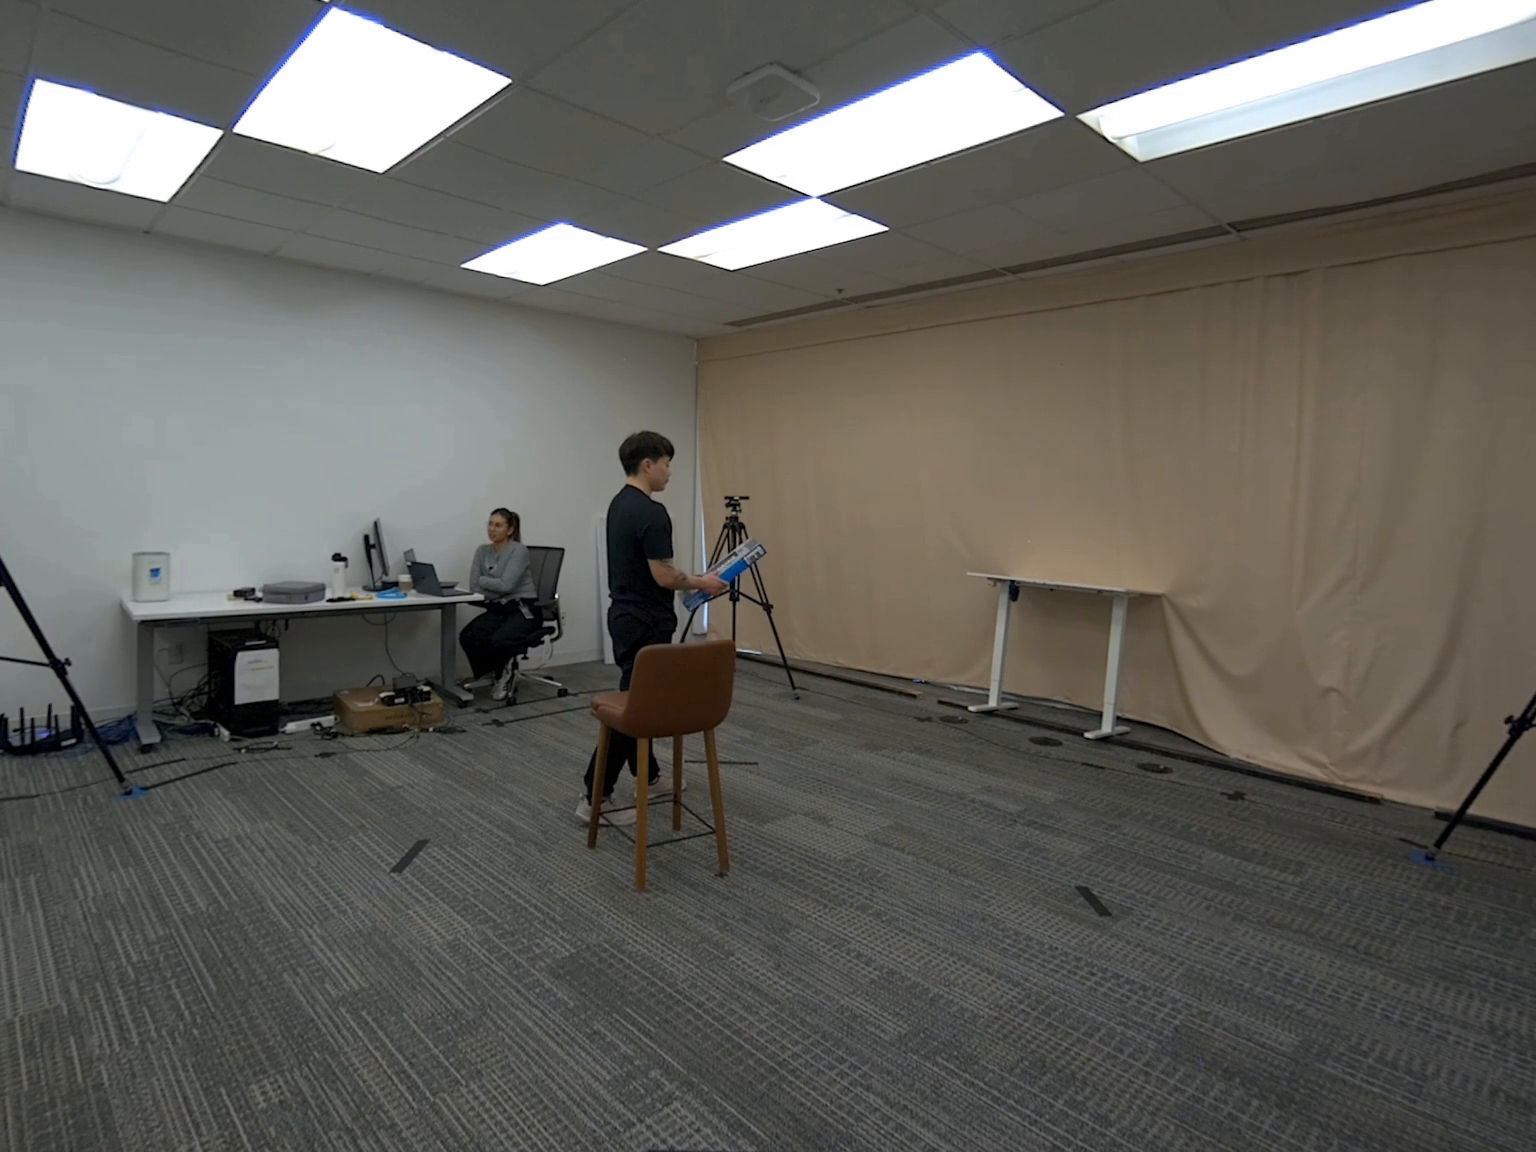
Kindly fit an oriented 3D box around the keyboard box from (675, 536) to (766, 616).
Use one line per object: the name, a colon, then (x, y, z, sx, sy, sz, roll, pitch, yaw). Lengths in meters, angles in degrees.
keyboard box: (-0.221, -0.006, 3.824, 0.436, 0.058, 0.179, -39, 18, -3)
